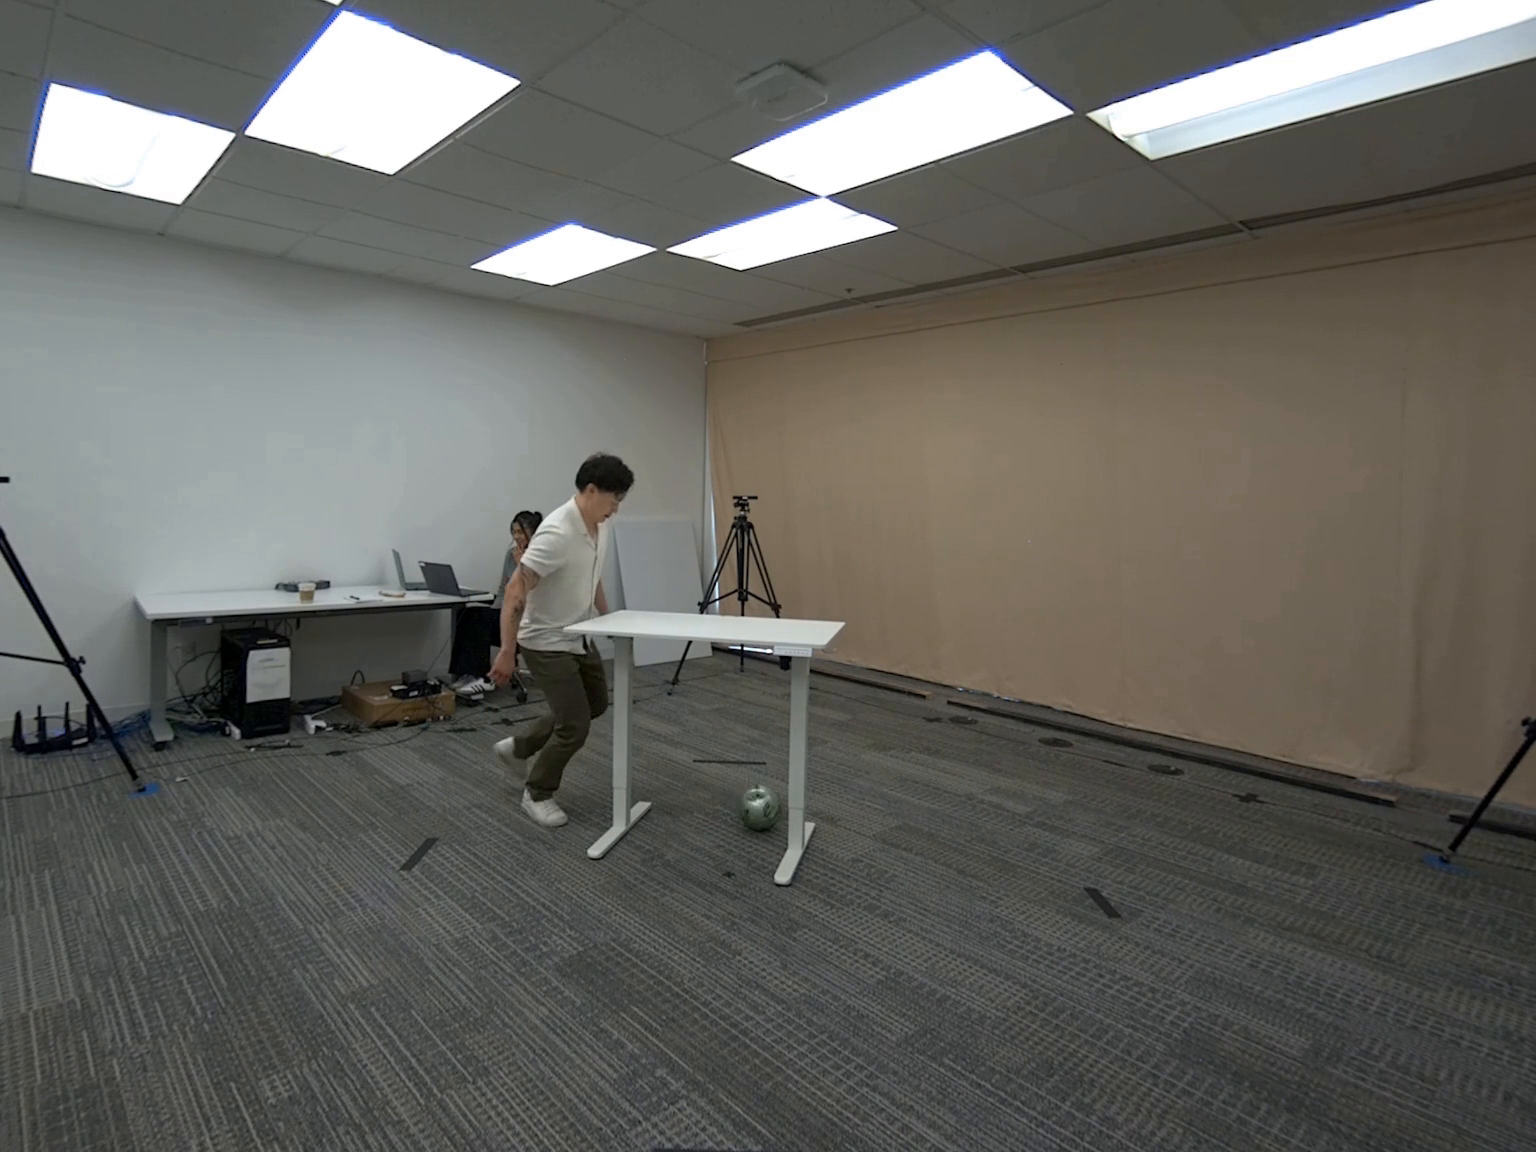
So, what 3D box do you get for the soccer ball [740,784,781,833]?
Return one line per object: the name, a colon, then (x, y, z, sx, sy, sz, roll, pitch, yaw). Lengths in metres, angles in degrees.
soccer ball: (-0.049, 0.971, 3.539, 0.187, 0.187, 0.188, 1, 4, -1)
